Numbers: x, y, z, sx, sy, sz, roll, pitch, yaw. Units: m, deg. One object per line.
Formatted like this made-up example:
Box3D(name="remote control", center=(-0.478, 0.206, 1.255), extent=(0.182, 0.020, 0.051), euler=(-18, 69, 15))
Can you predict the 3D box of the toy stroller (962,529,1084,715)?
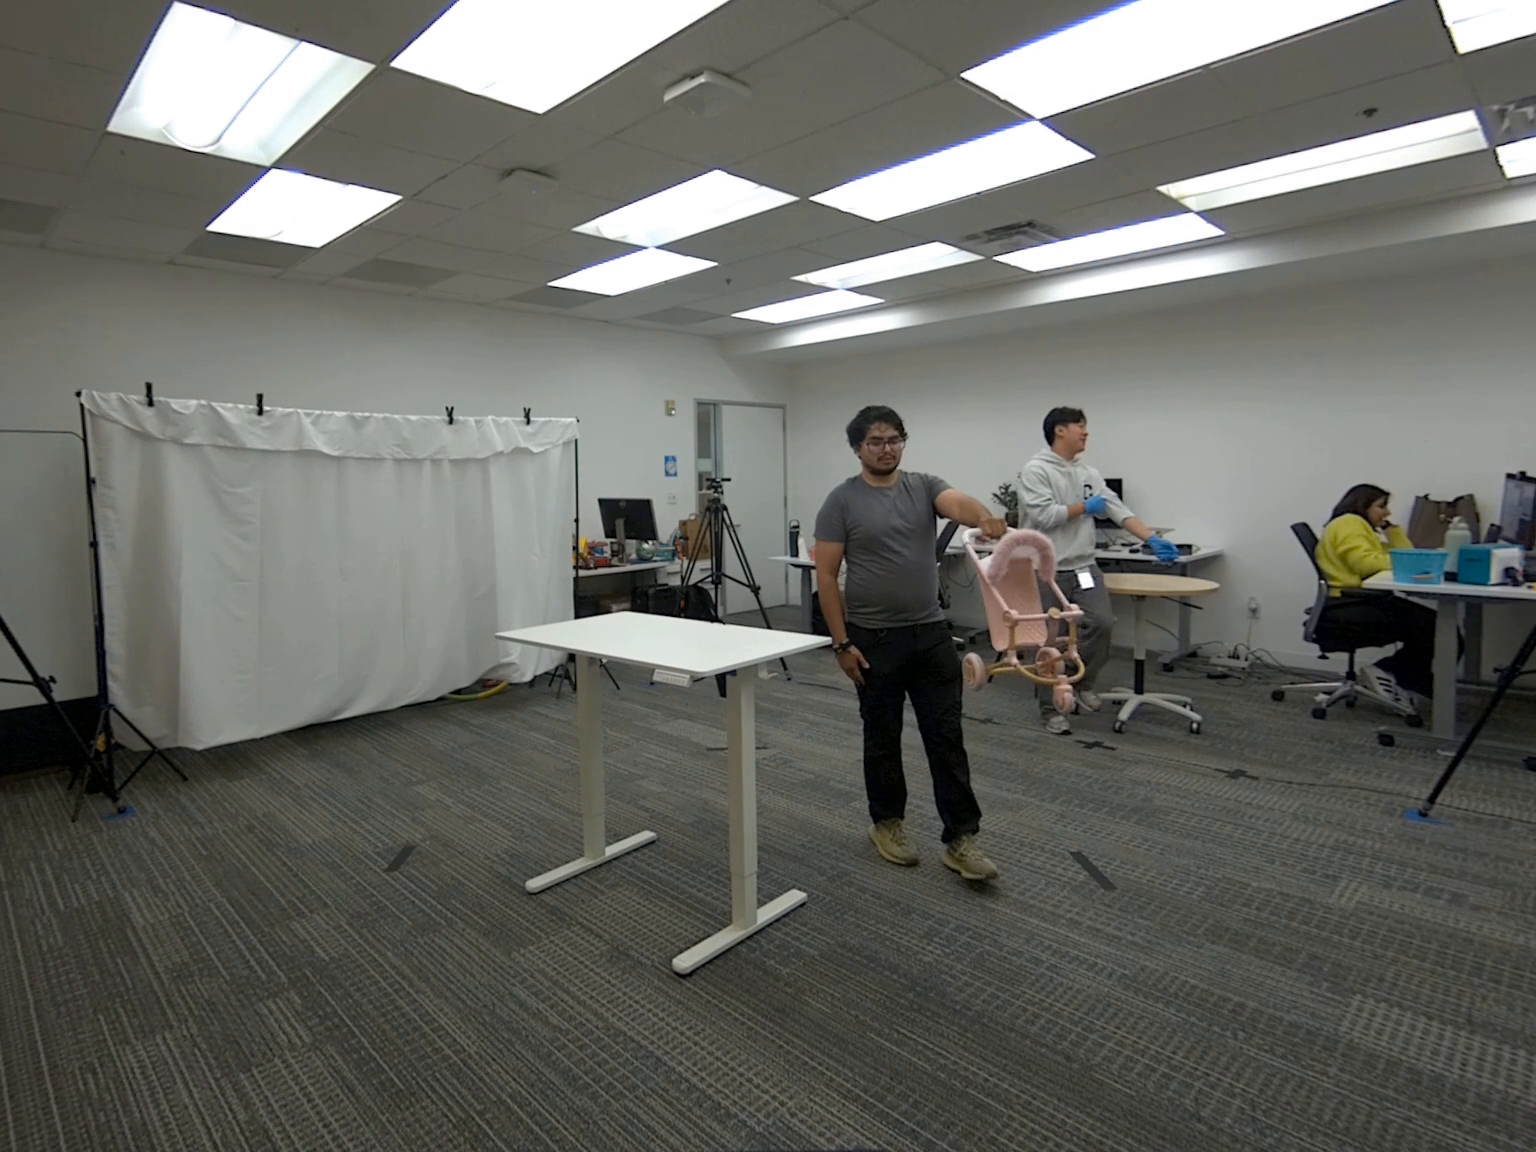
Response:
Box3D(name="toy stroller", center=(0.730, 0.113, 2.409), extent=(0.278, 0.538, 0.343), euler=(-3, -6, -13))
